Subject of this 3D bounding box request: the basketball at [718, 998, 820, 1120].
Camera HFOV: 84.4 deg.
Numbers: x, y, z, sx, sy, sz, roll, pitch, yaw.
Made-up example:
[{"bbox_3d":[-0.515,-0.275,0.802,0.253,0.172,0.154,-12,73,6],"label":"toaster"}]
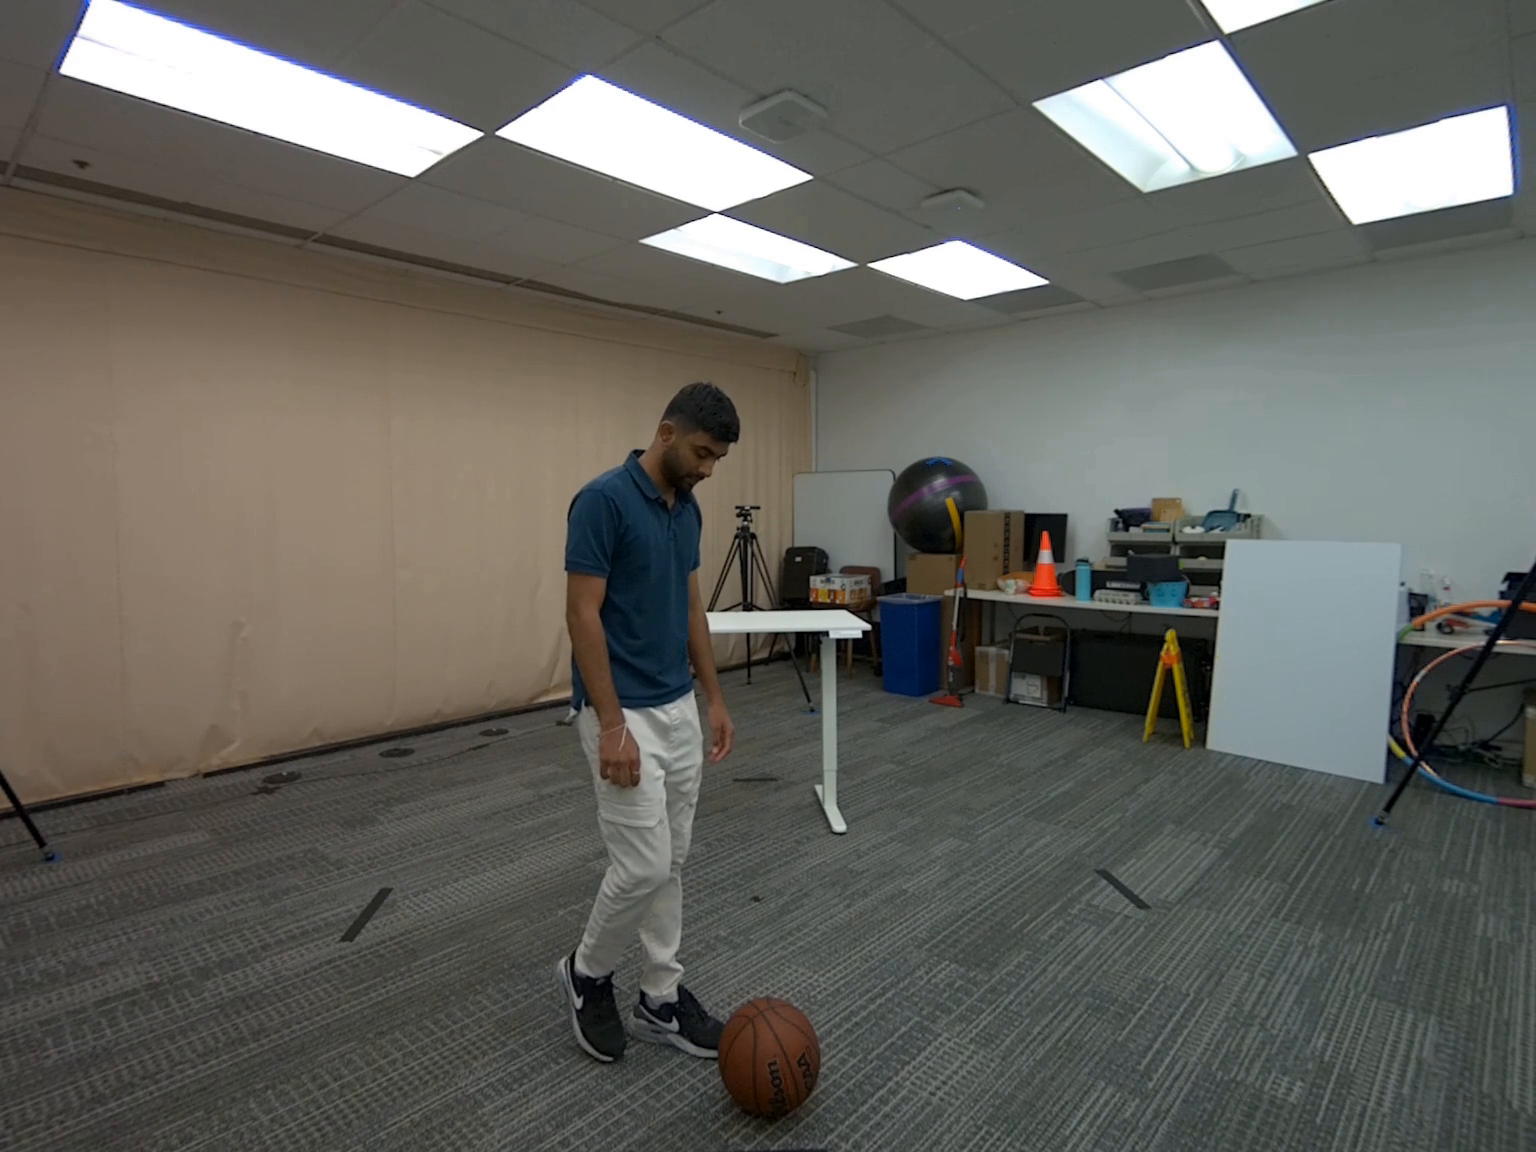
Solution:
[{"bbox_3d":[0.007,1.112,1.947,0.236,0.235,0.237,0,4,-2],"label":"basketball"}]
